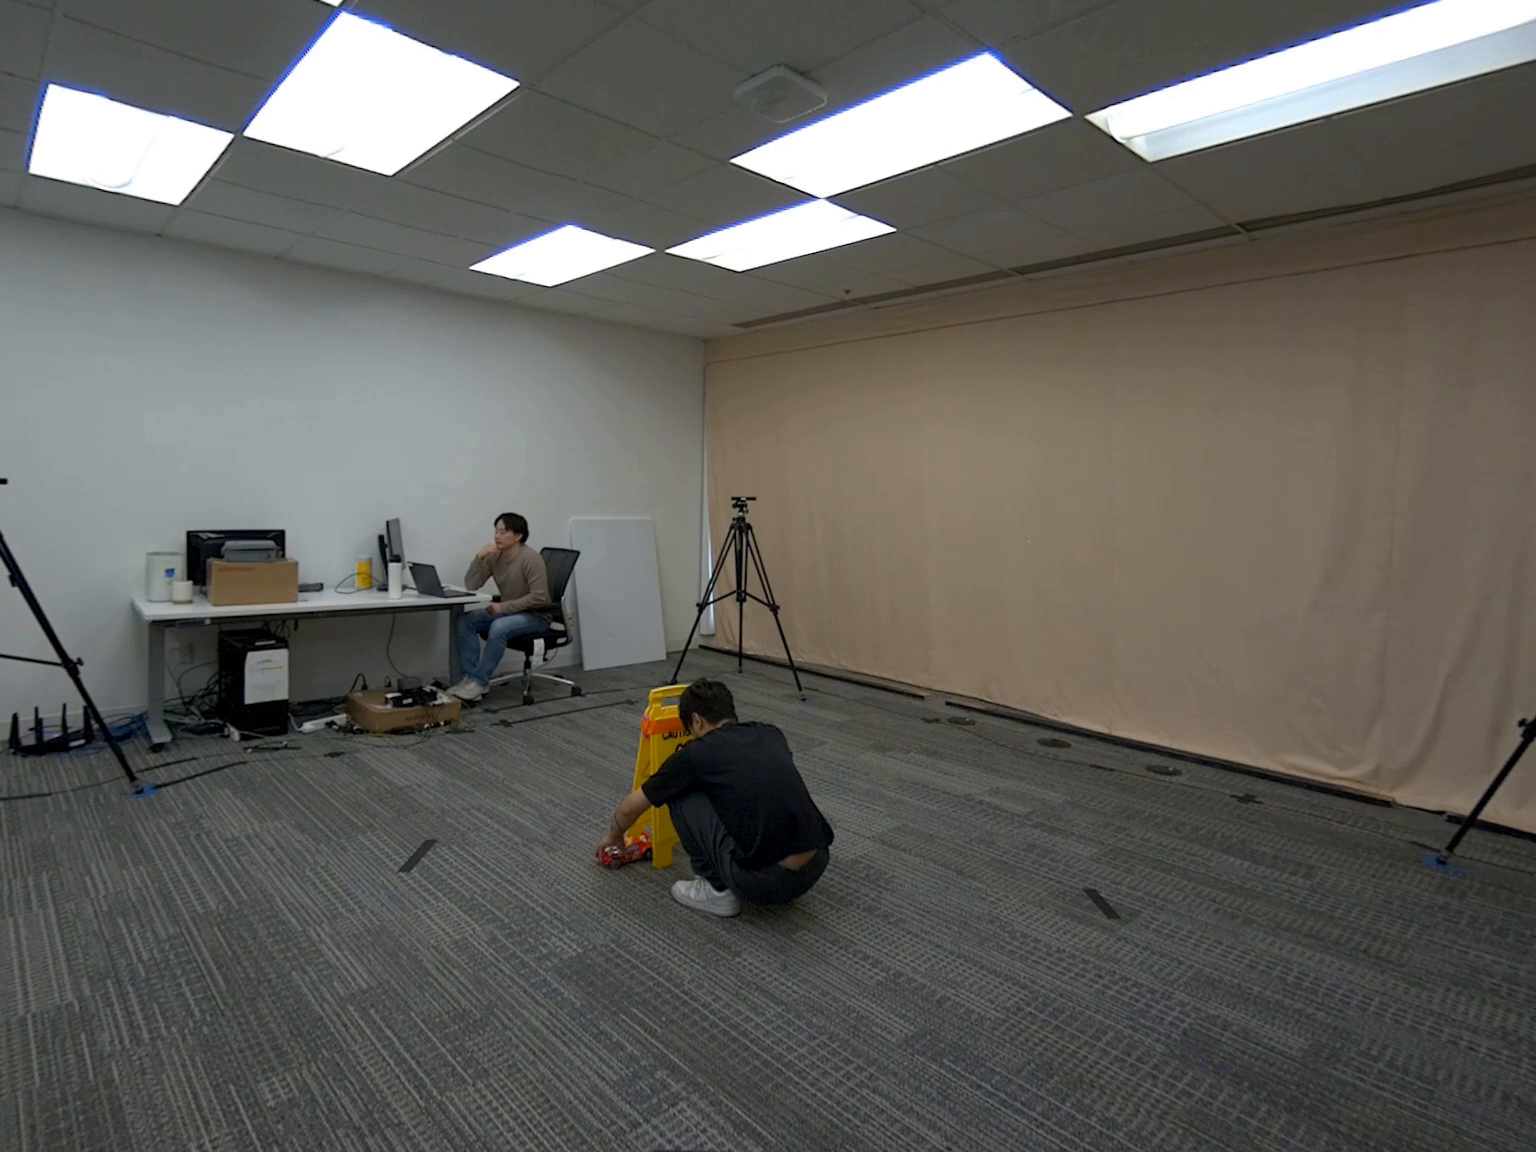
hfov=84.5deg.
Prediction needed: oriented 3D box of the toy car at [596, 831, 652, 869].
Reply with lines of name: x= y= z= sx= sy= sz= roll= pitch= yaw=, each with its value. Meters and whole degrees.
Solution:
toy car: x=-0.534 y=1.054 z=3.240 sx=0.251 sy=0.082 sz=0.133 roll=-18 pitch=14 yaw=-31
